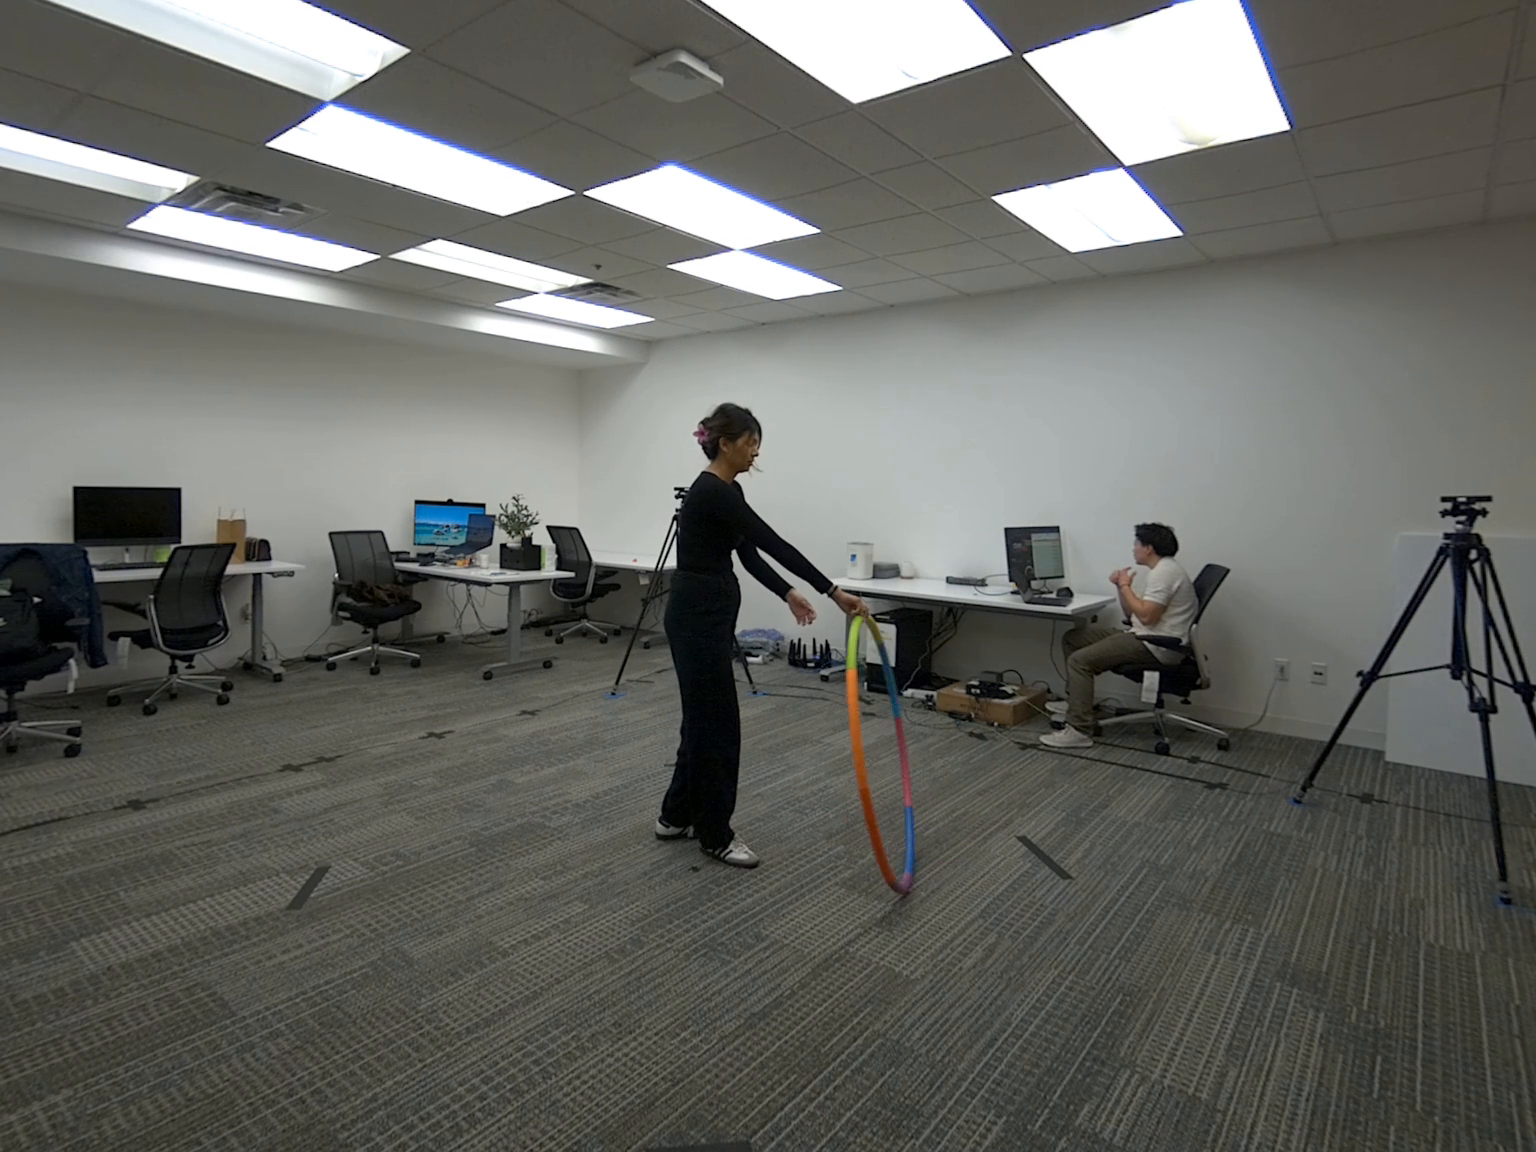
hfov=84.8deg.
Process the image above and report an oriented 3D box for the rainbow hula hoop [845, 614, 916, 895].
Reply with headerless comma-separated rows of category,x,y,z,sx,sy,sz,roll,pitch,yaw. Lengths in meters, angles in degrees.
rainbow hula hoop,0.409,0.613,3.064,0.036,0.979,0.965,-12,0,15
